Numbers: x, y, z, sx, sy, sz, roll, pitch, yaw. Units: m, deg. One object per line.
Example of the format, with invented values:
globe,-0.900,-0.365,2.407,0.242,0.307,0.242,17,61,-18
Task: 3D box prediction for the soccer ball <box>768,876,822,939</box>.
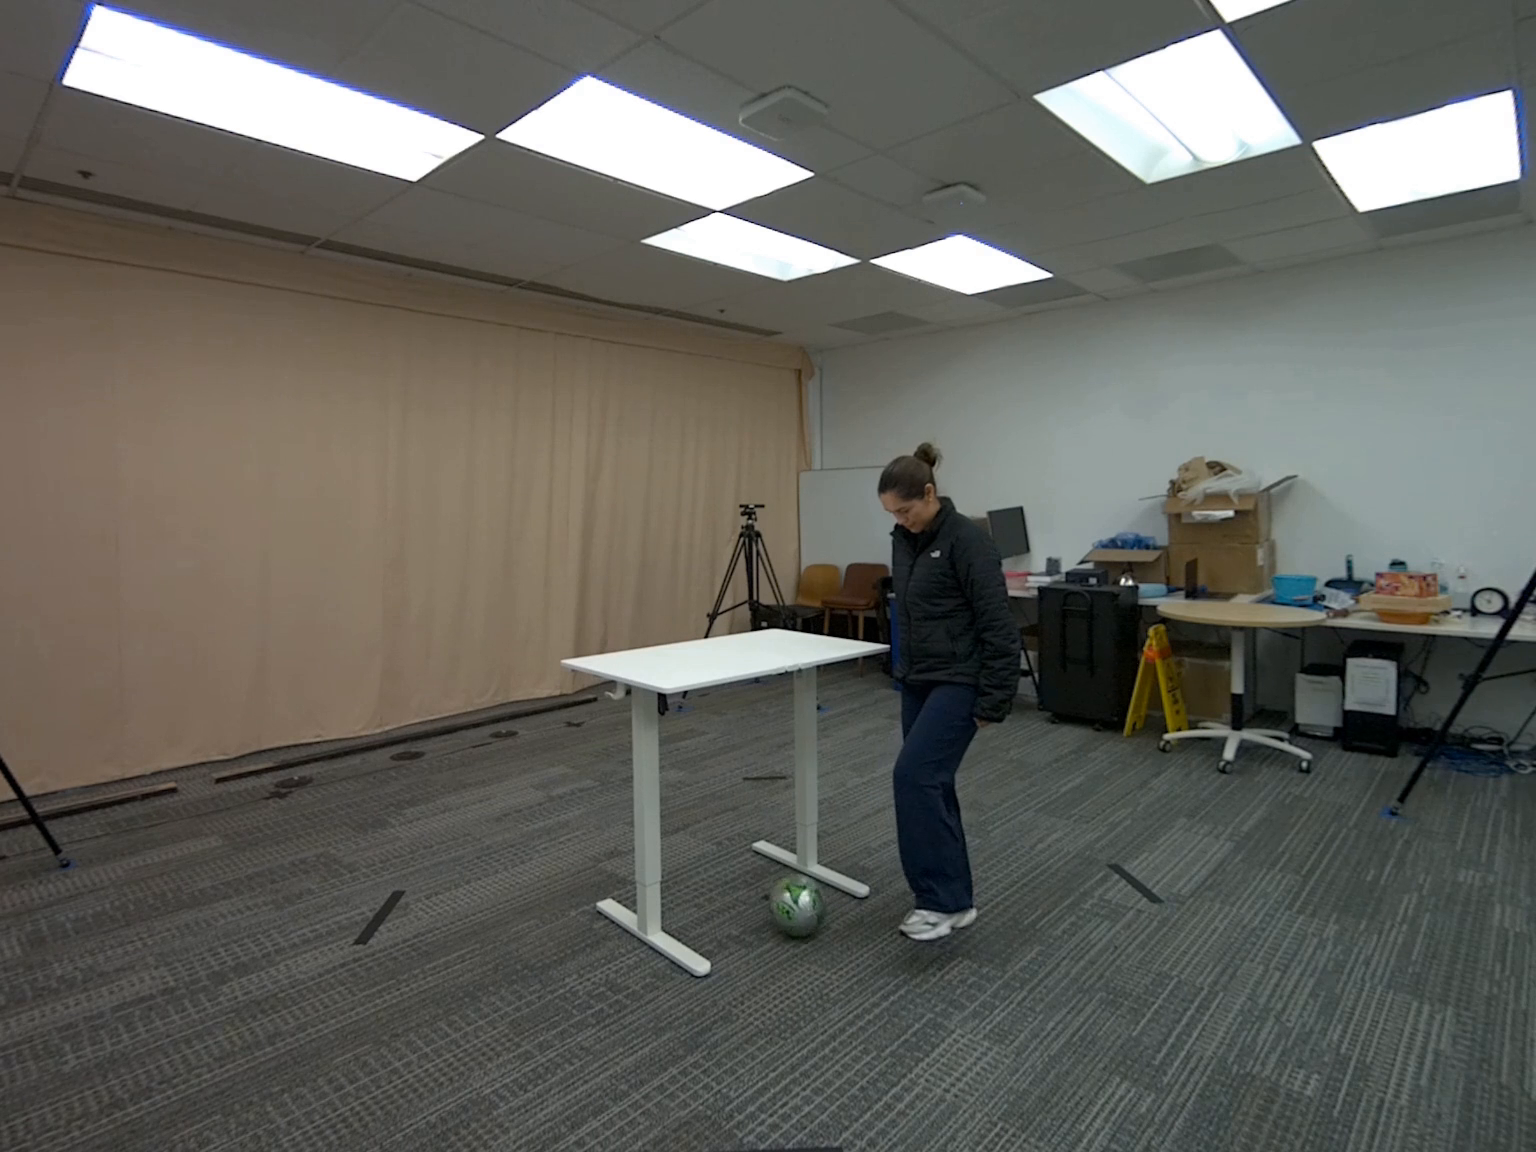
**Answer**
soccer ball,0.099,1.069,2.717,0.187,0.187,0.188,-1,4,-2
